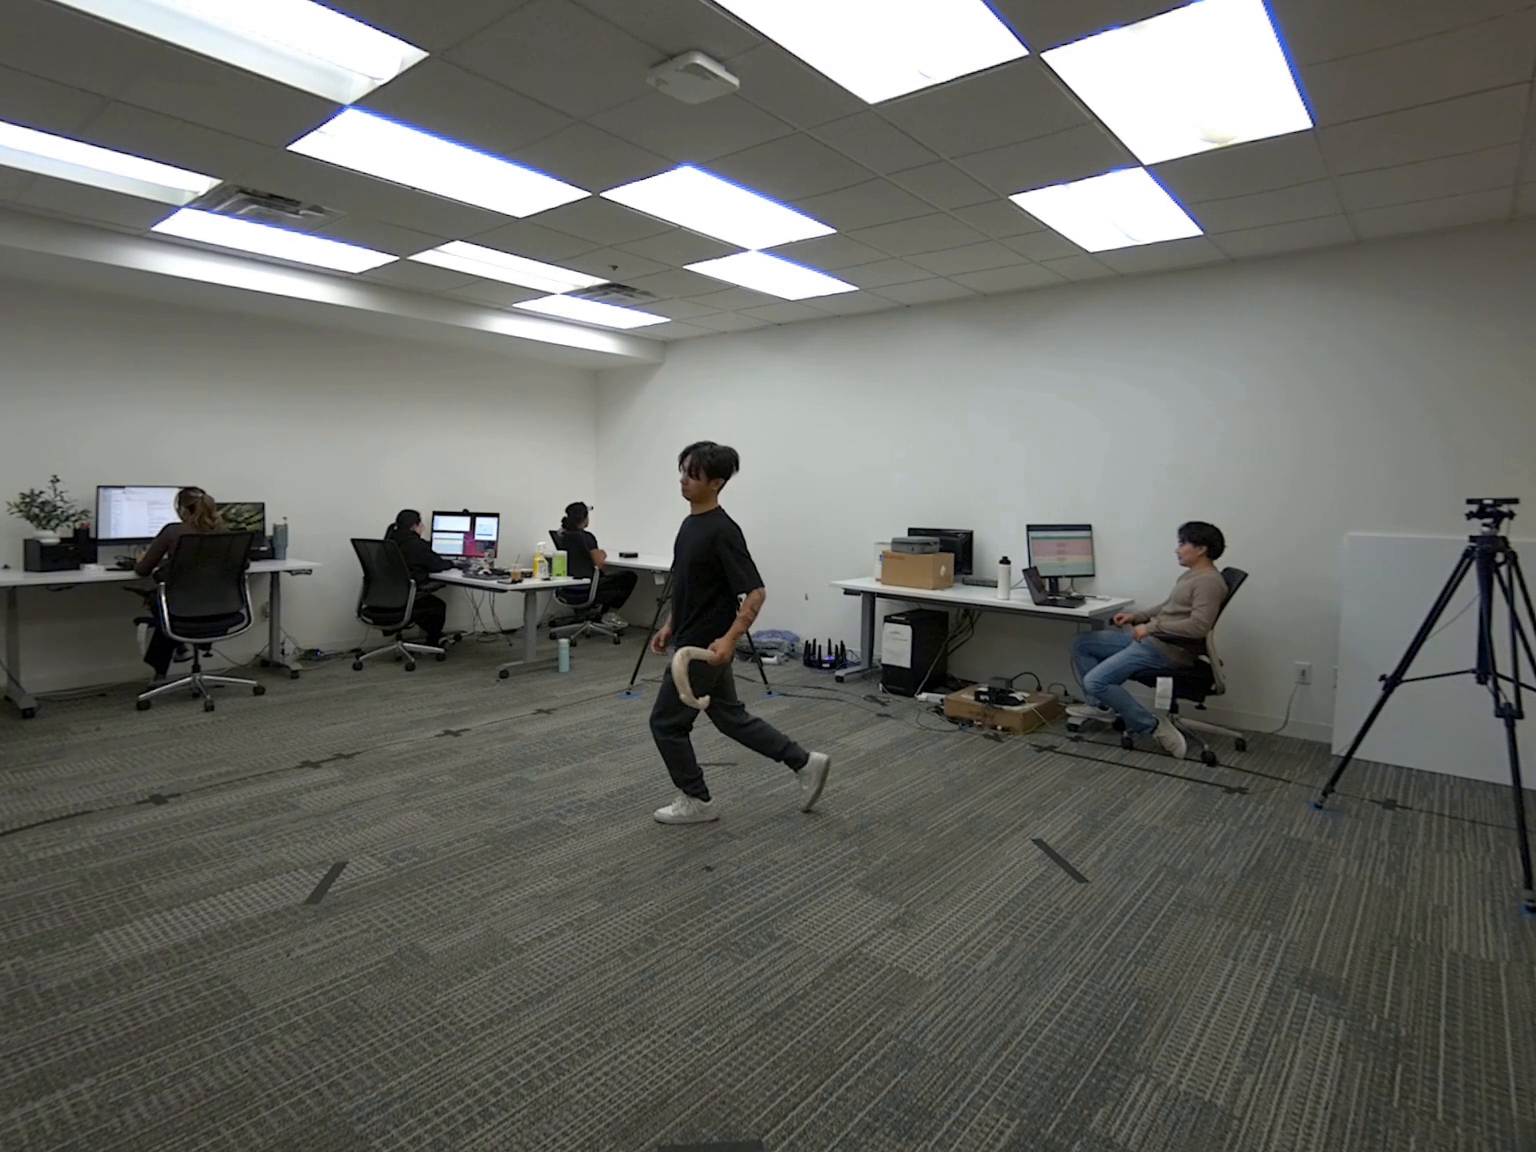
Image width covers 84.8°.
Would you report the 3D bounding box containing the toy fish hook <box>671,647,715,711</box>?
[{"bbox_3d":[-0.247,0.339,3.113,0.049,0.225,0.497,-14,0,21],"label":"toy fish hook"}]
